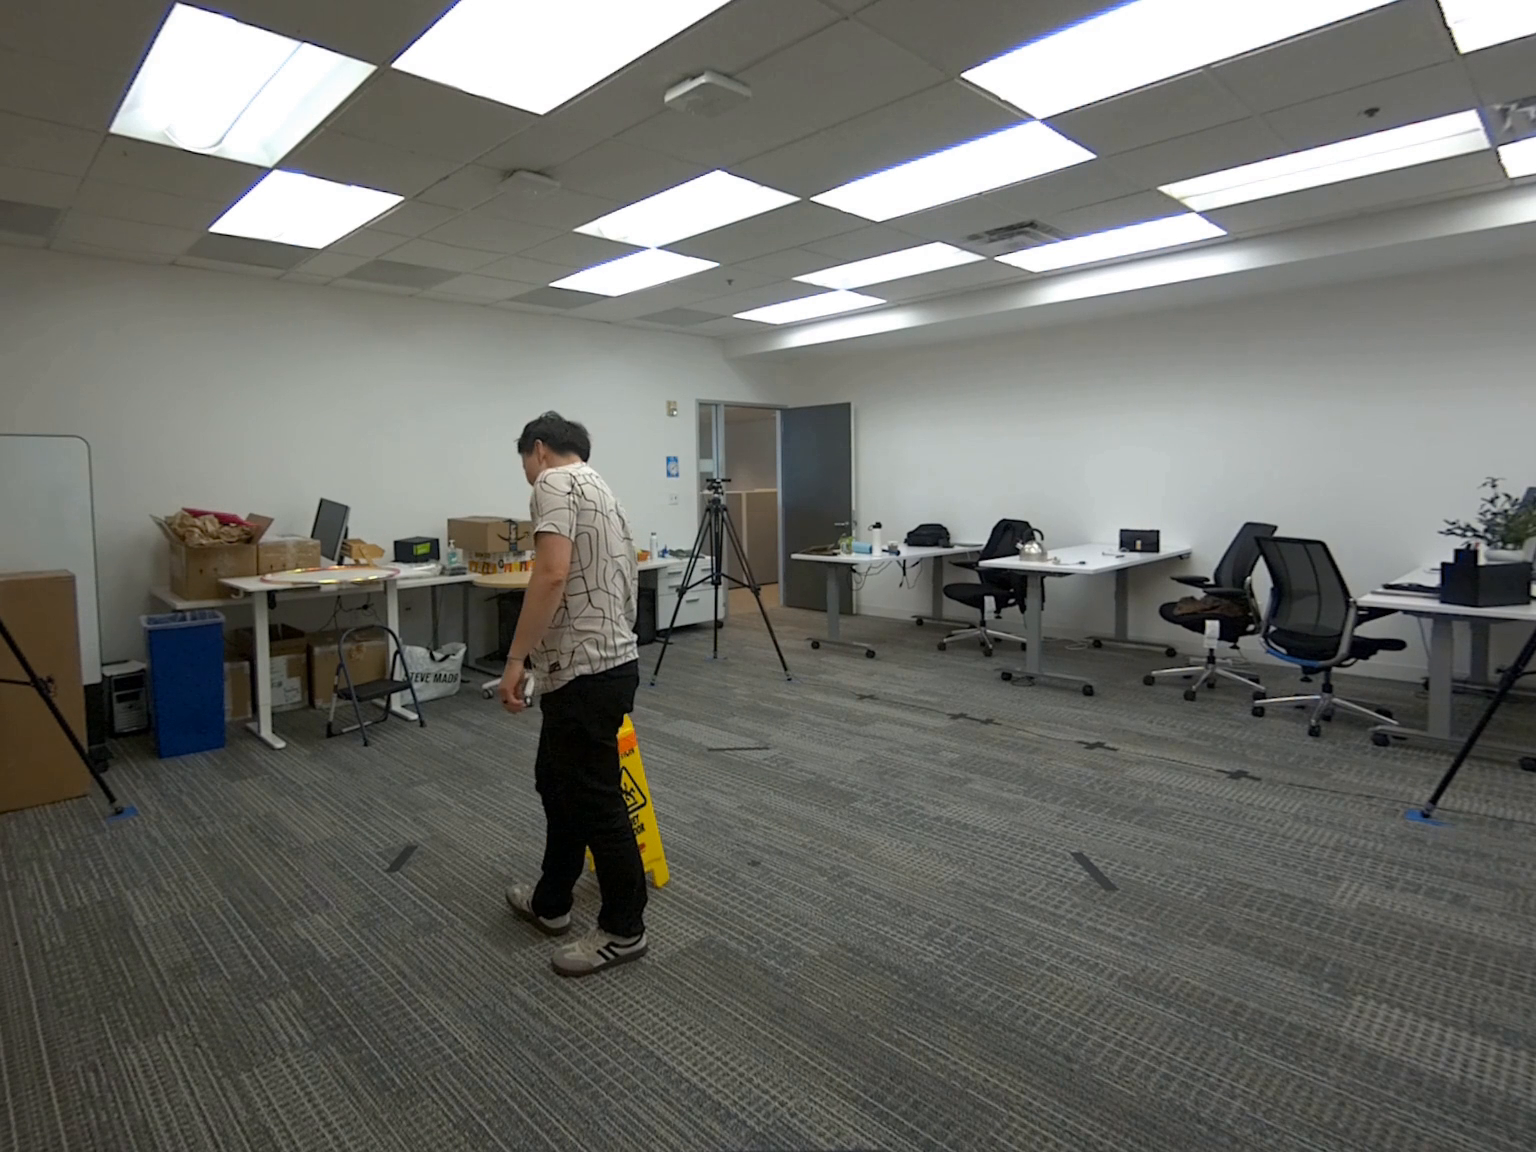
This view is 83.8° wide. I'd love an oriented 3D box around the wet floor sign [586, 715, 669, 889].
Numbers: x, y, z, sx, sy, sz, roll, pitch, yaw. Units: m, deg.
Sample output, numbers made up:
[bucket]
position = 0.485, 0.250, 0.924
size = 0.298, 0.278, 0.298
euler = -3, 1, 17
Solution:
[wet floor sign]
position = -0.537, 0.753, 2.916
size = 0.297, 0.643, 0.276
euler = 2, 6, 28
